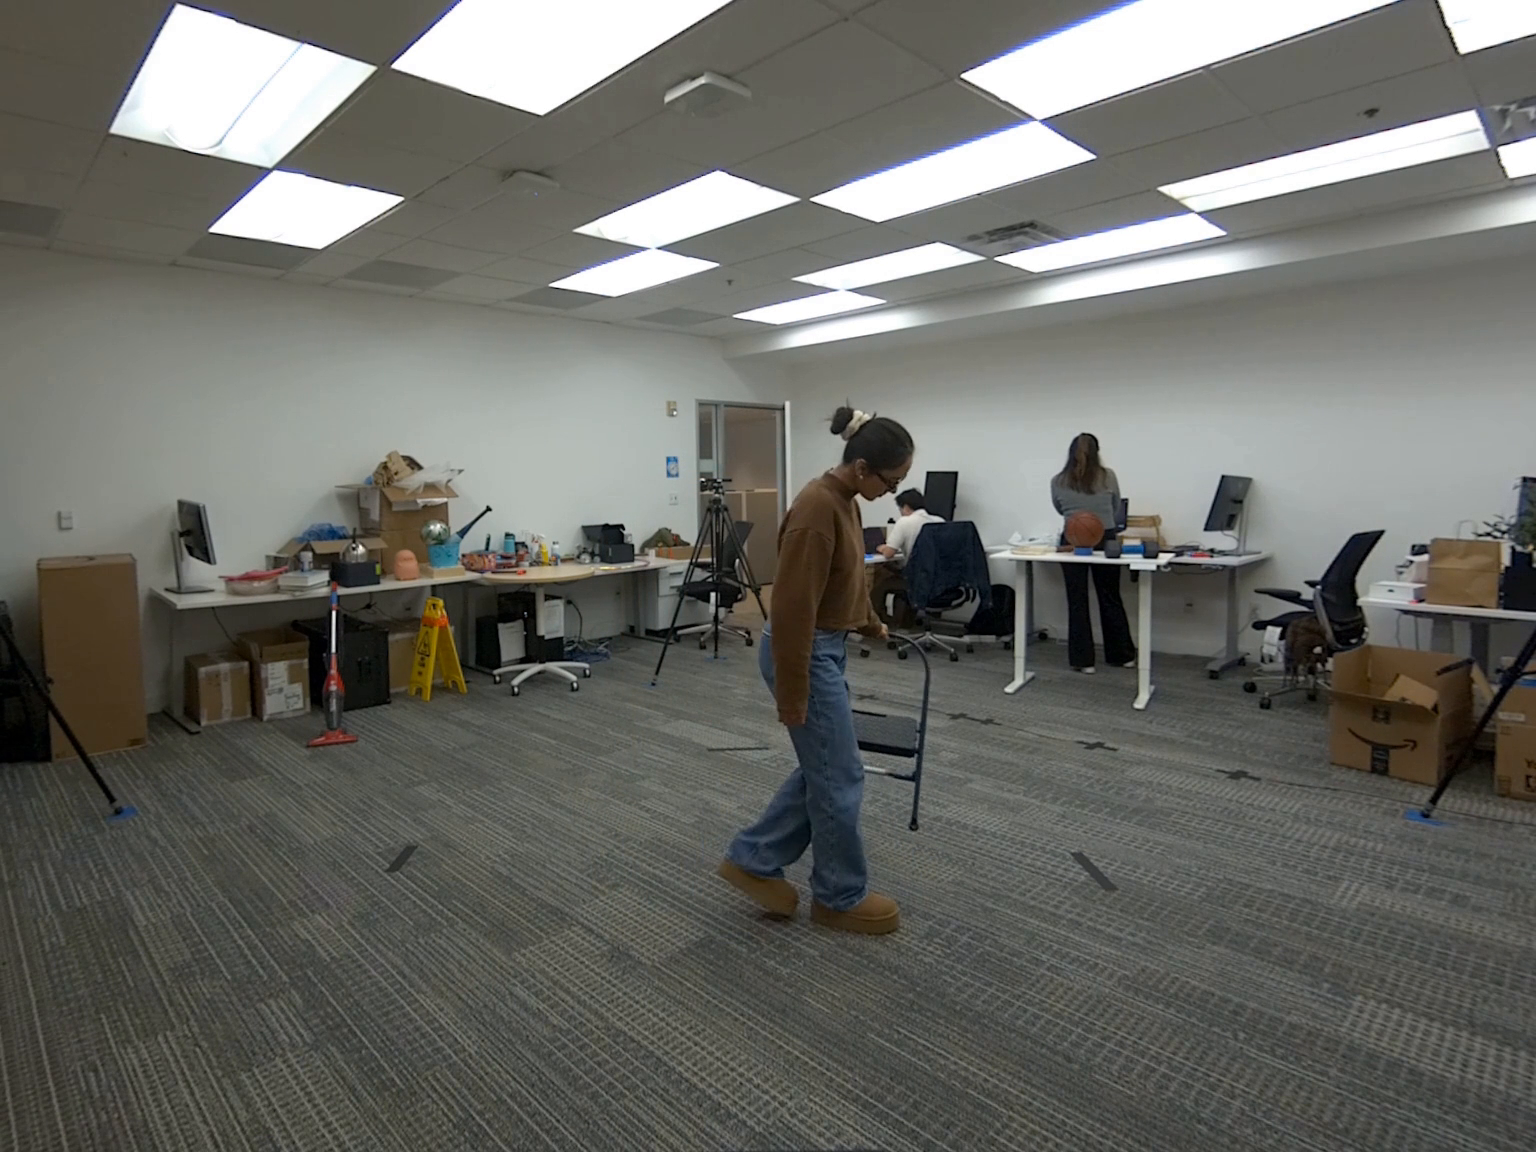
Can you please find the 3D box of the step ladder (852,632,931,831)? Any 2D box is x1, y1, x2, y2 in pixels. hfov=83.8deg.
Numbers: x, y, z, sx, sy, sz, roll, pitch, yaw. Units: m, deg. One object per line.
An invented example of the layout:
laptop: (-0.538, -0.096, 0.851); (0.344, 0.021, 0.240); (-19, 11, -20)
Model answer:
step ladder: (0.374, 0.518, 3.044); (0.437, 0.598, 0.349); (8, 16, 12)
